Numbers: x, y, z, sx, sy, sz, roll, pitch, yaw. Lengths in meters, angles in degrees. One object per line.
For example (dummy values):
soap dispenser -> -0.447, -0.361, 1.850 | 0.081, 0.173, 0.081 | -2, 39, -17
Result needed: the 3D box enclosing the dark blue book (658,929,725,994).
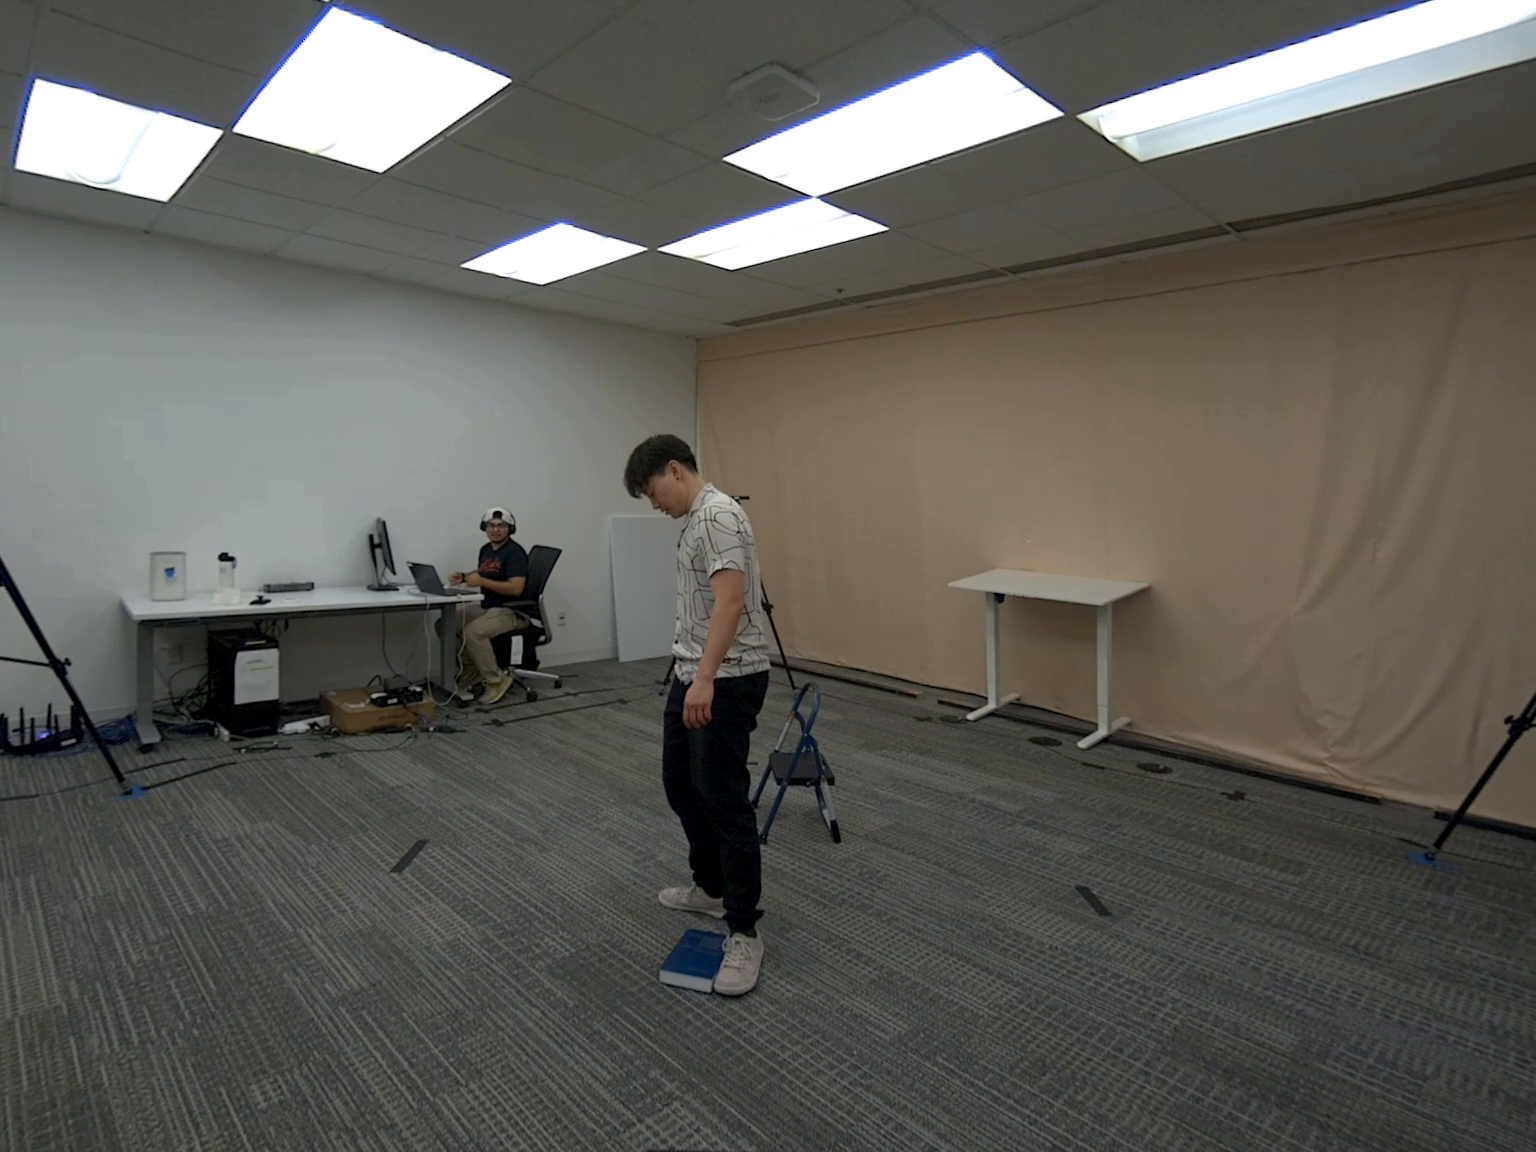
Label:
dark blue book -> -0.211, 1.130, 2.492 | 0.165, 0.045, 0.242 | 3, 5, 16
